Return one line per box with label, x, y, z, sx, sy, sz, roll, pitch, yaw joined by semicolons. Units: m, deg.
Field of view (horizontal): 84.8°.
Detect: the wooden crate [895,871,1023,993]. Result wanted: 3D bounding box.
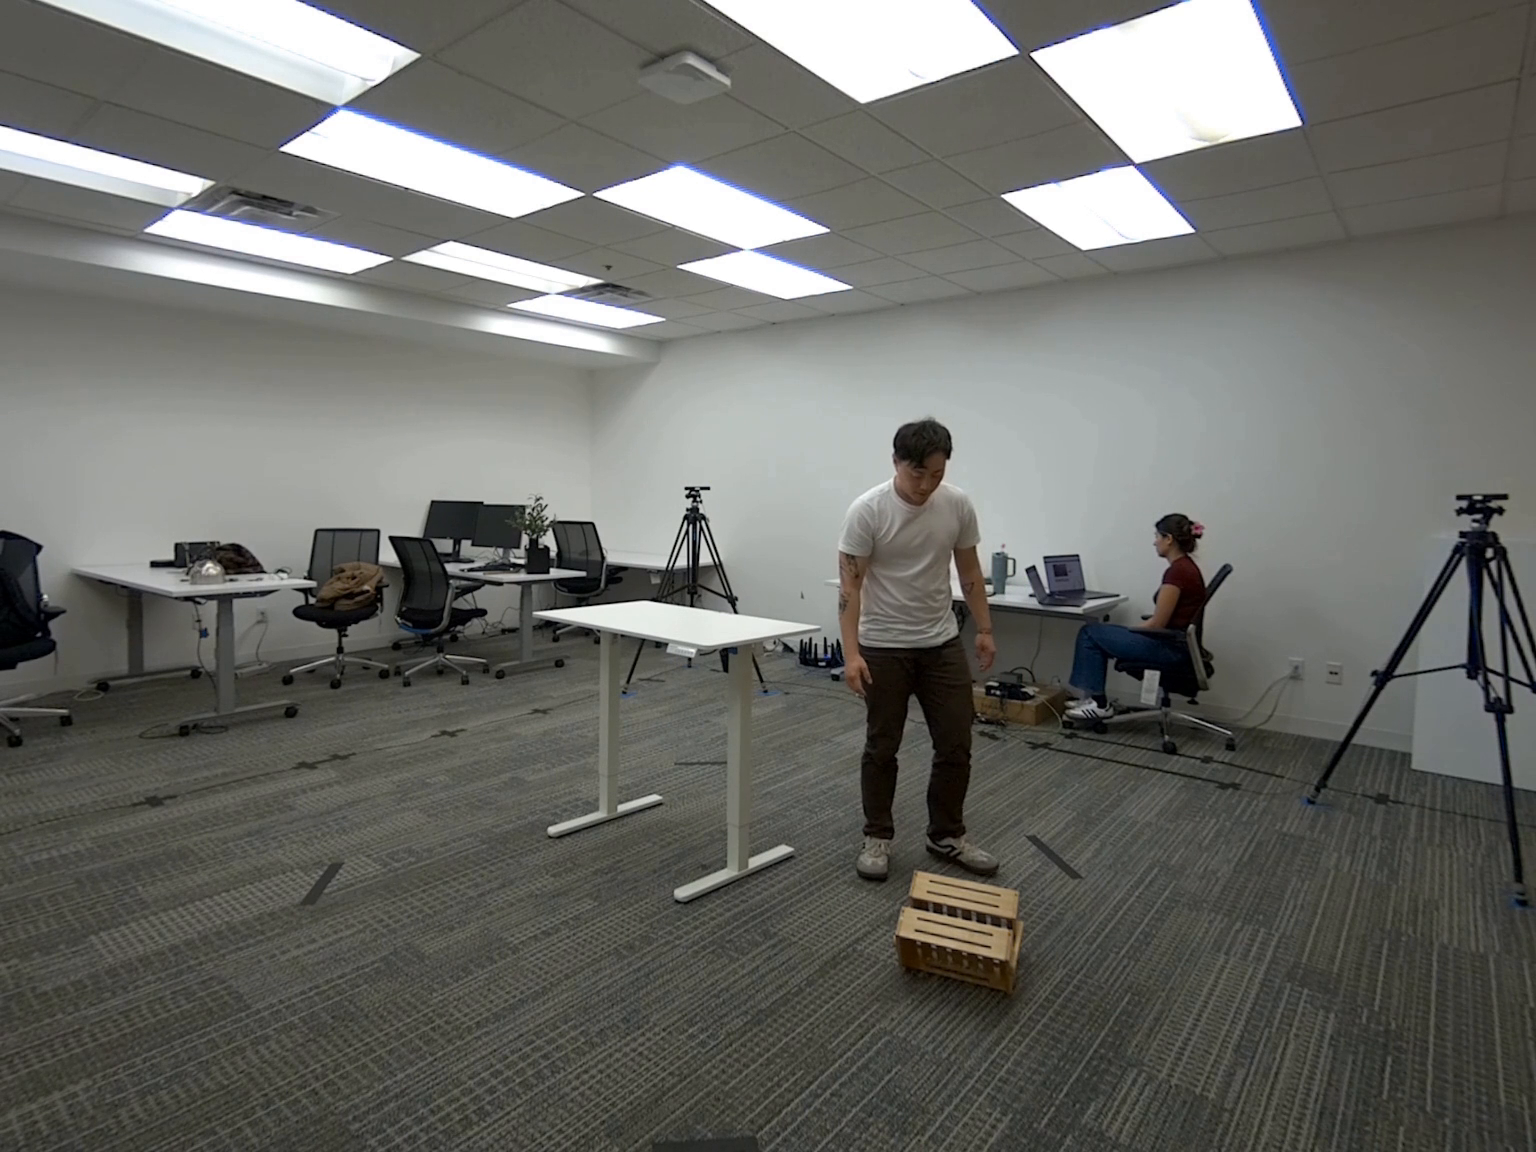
wooden crate;0.546;1.056;2.465;0.333;0.293;0.274;4;33;23
